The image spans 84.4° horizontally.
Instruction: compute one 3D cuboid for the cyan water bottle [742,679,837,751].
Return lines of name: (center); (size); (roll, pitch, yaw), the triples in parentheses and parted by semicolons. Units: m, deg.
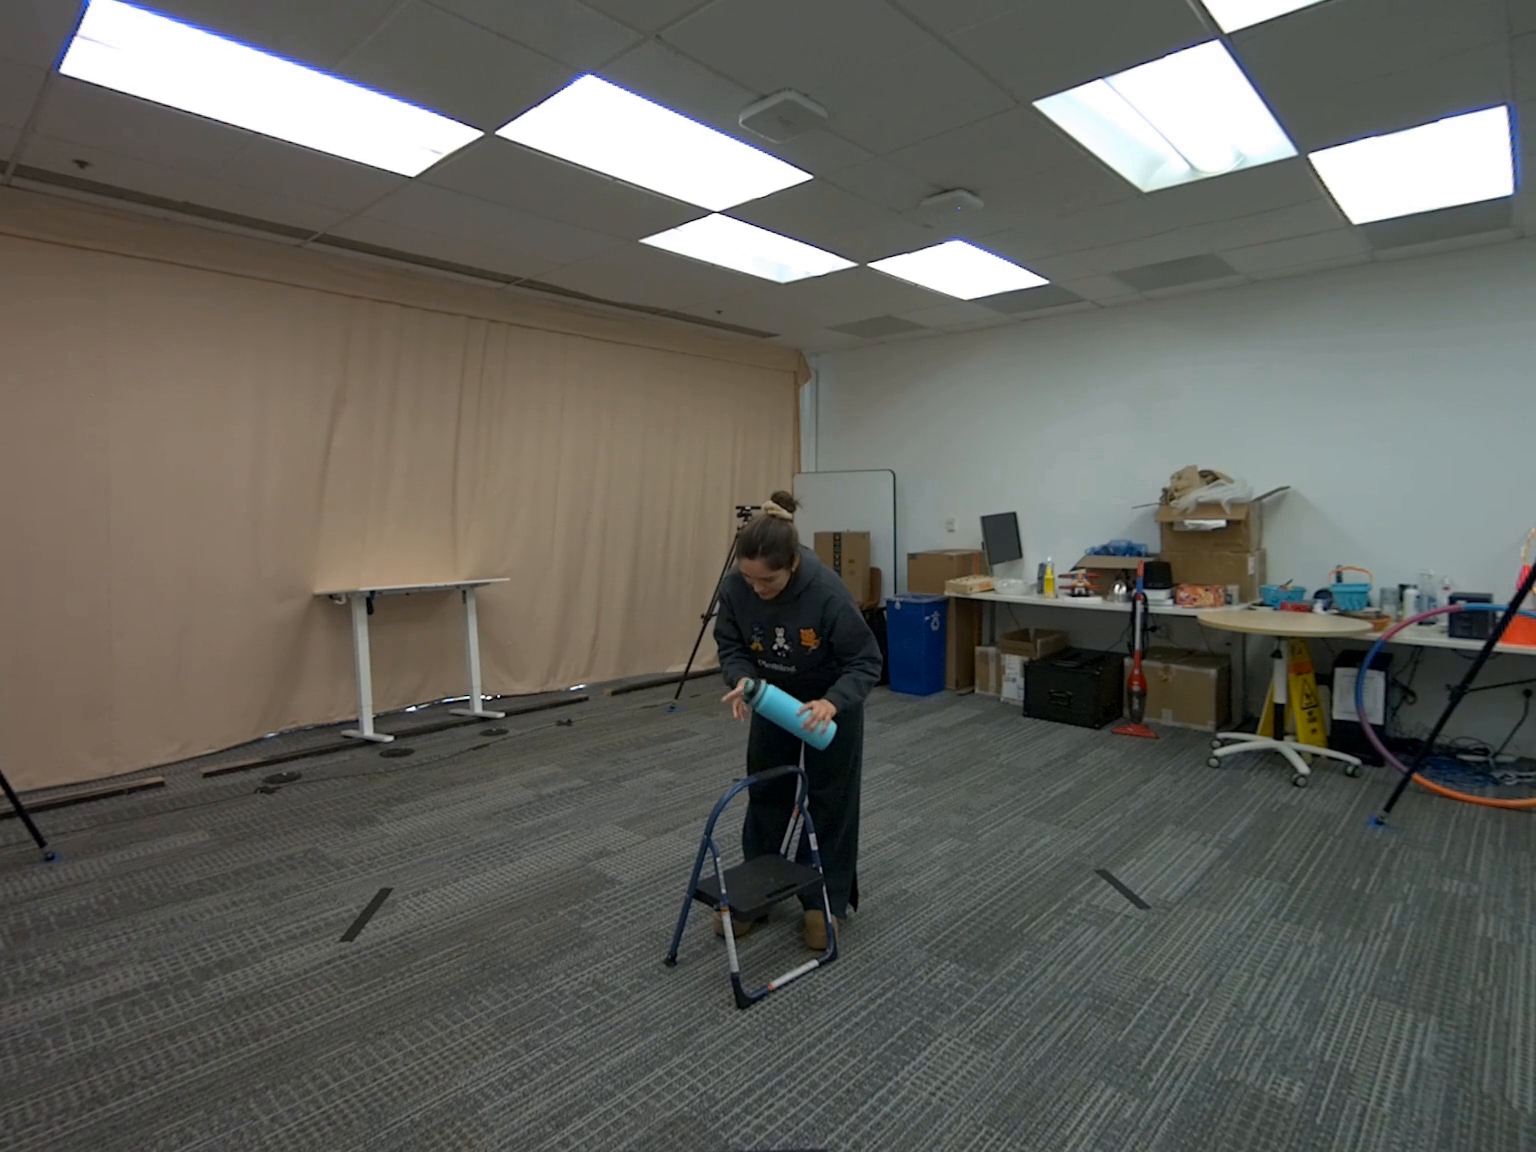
cyan water bottle: (0.067, 0.390, 2.377); (0.282, 0.092, 0.092); (31, 2, -3)
